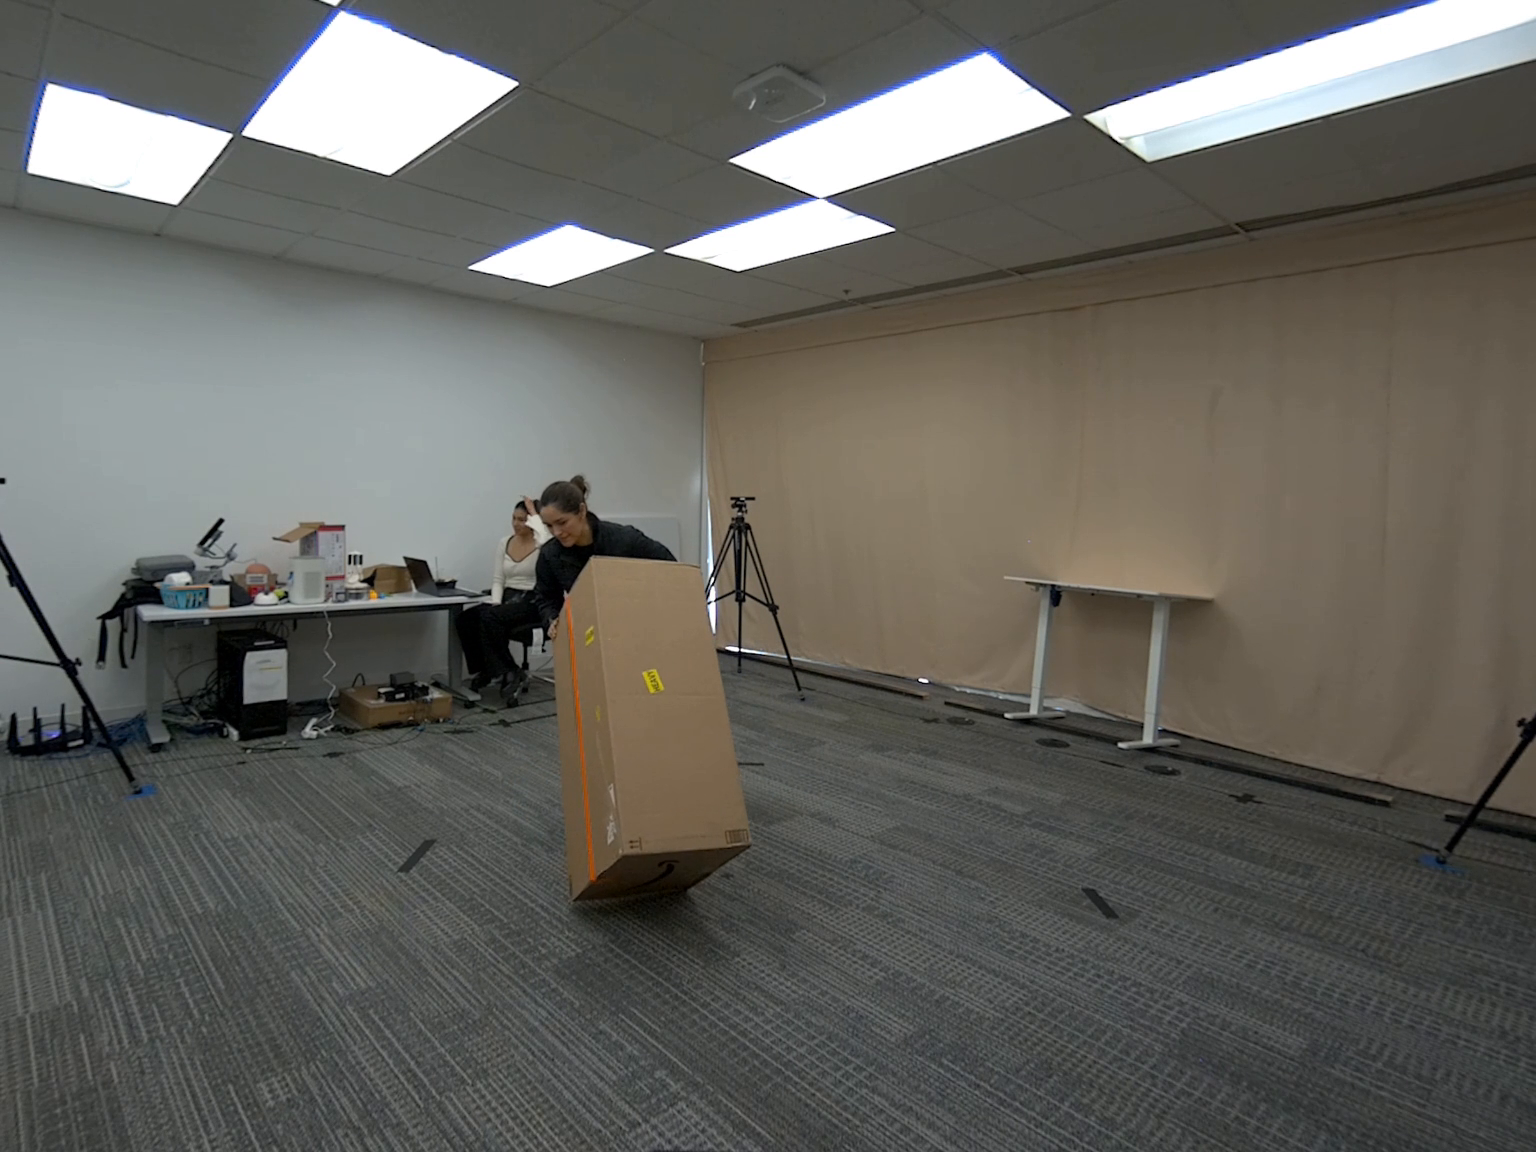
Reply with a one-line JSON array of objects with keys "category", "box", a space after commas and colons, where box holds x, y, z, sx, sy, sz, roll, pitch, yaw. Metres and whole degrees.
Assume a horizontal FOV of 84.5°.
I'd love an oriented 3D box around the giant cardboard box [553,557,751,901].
[{"category": "giant cardboard box", "box": [-0.462, 0.532, 2.946, 0.438, 1.052, 0.581, 4, -35, -27]}]
